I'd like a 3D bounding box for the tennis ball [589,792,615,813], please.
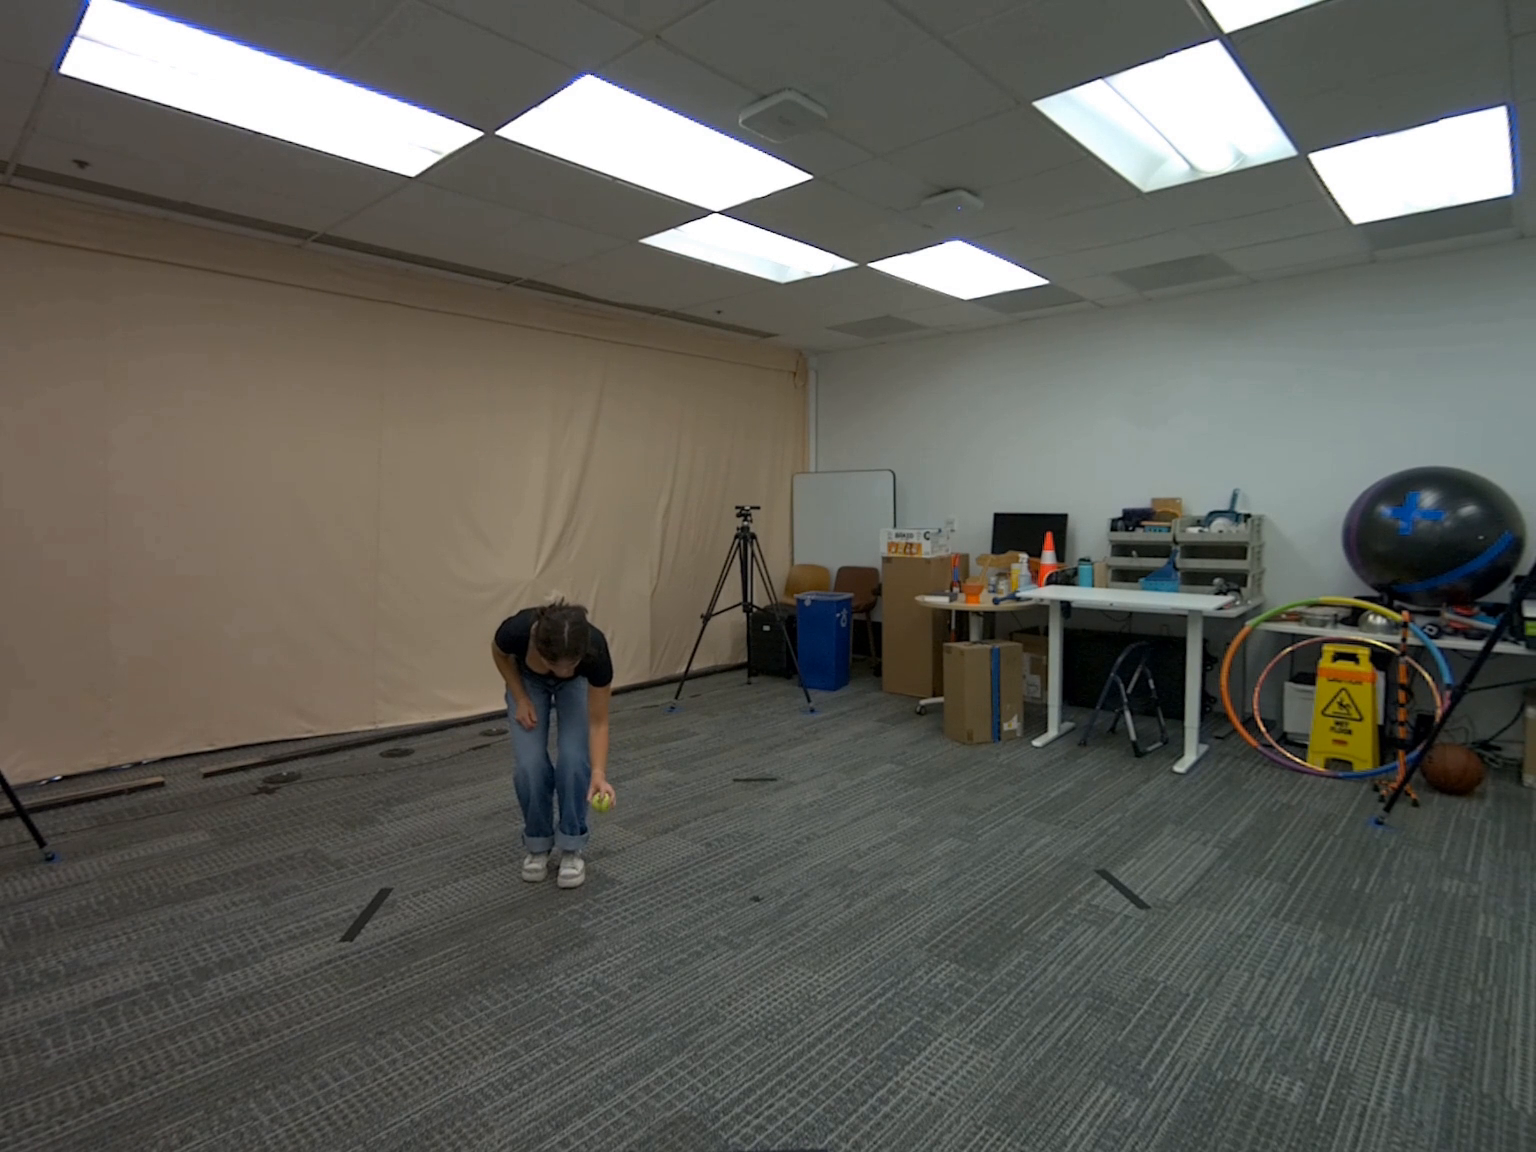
[{"bbox_3d":[-0.555,0.748,2.835,0.066,0.066,0.067,0,4,-2],"label":"tennis ball"}]
